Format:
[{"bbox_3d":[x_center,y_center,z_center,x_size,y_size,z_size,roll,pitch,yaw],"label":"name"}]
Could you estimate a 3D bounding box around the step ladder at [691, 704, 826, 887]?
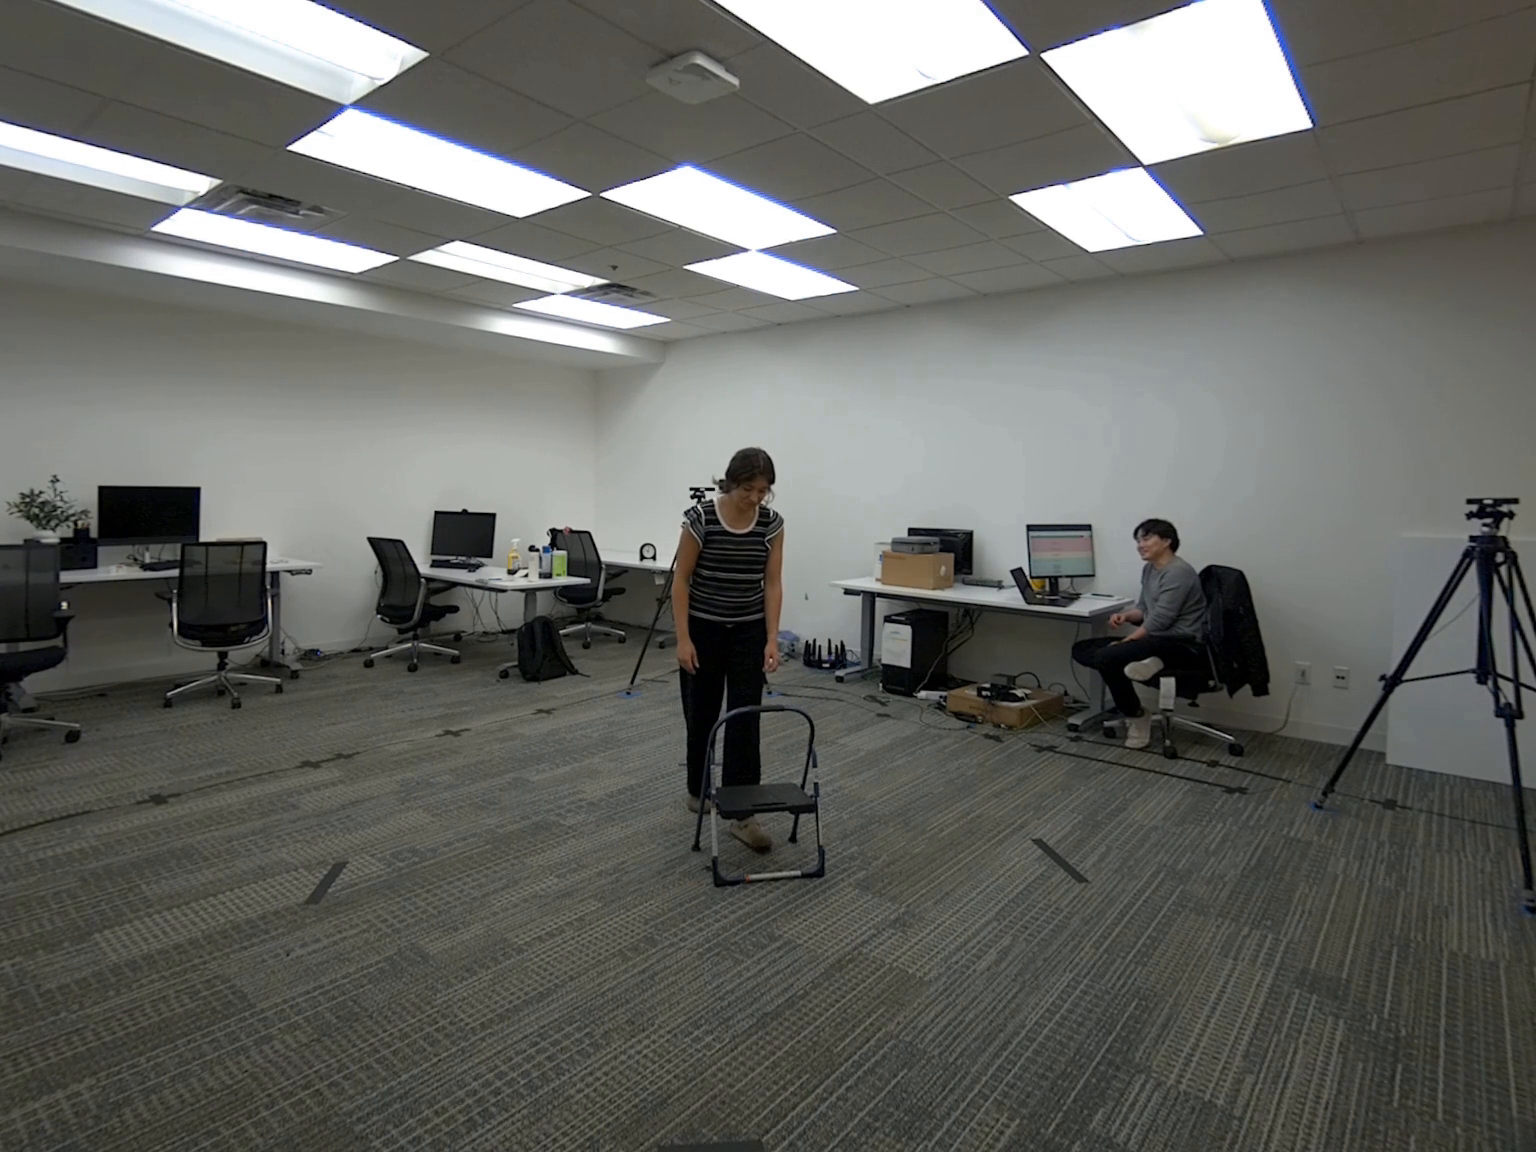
[{"bbox_3d":[-0.041,0.762,3.165,0.423,0.605,0.356,0,3,-16],"label":"step ladder"}]
